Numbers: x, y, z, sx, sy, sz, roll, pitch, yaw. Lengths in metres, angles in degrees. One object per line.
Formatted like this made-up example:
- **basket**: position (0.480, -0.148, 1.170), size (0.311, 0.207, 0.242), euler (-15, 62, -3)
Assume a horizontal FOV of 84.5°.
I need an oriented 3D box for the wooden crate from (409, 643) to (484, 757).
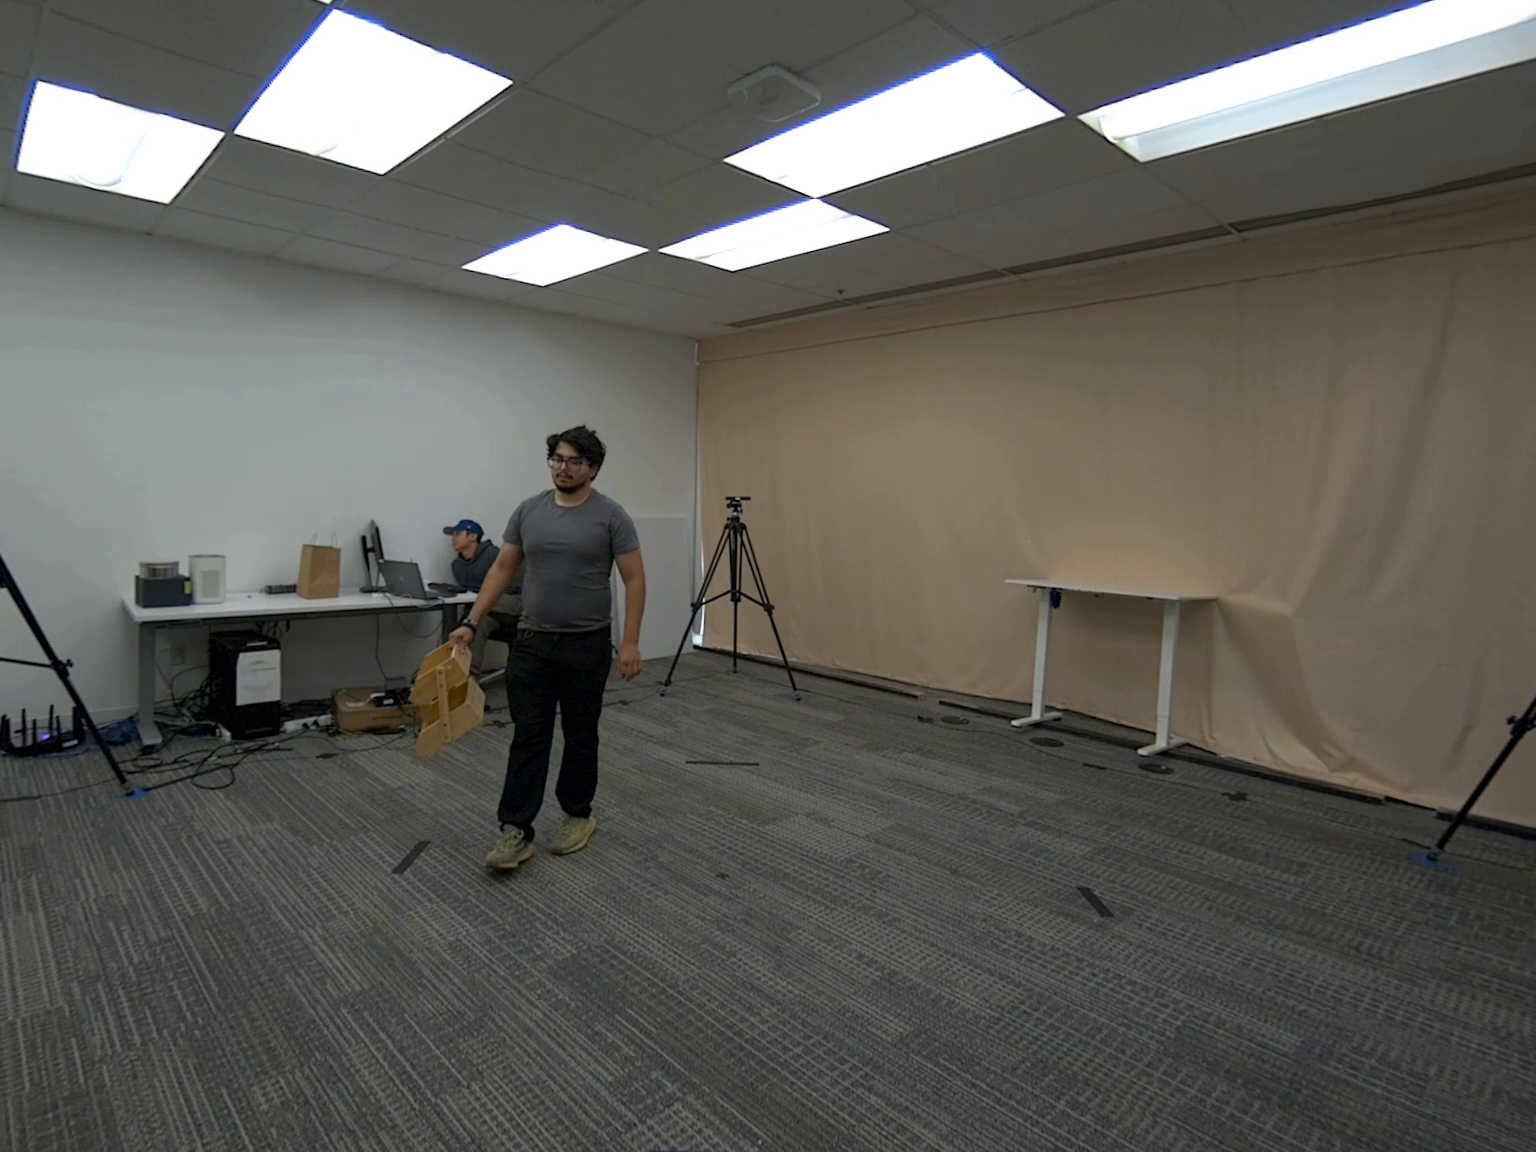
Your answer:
- **wooden crate**: position (-1.224, 0.446, 3.124), size (0.301, 0.269, 0.330), euler (-33, 17, -8)
